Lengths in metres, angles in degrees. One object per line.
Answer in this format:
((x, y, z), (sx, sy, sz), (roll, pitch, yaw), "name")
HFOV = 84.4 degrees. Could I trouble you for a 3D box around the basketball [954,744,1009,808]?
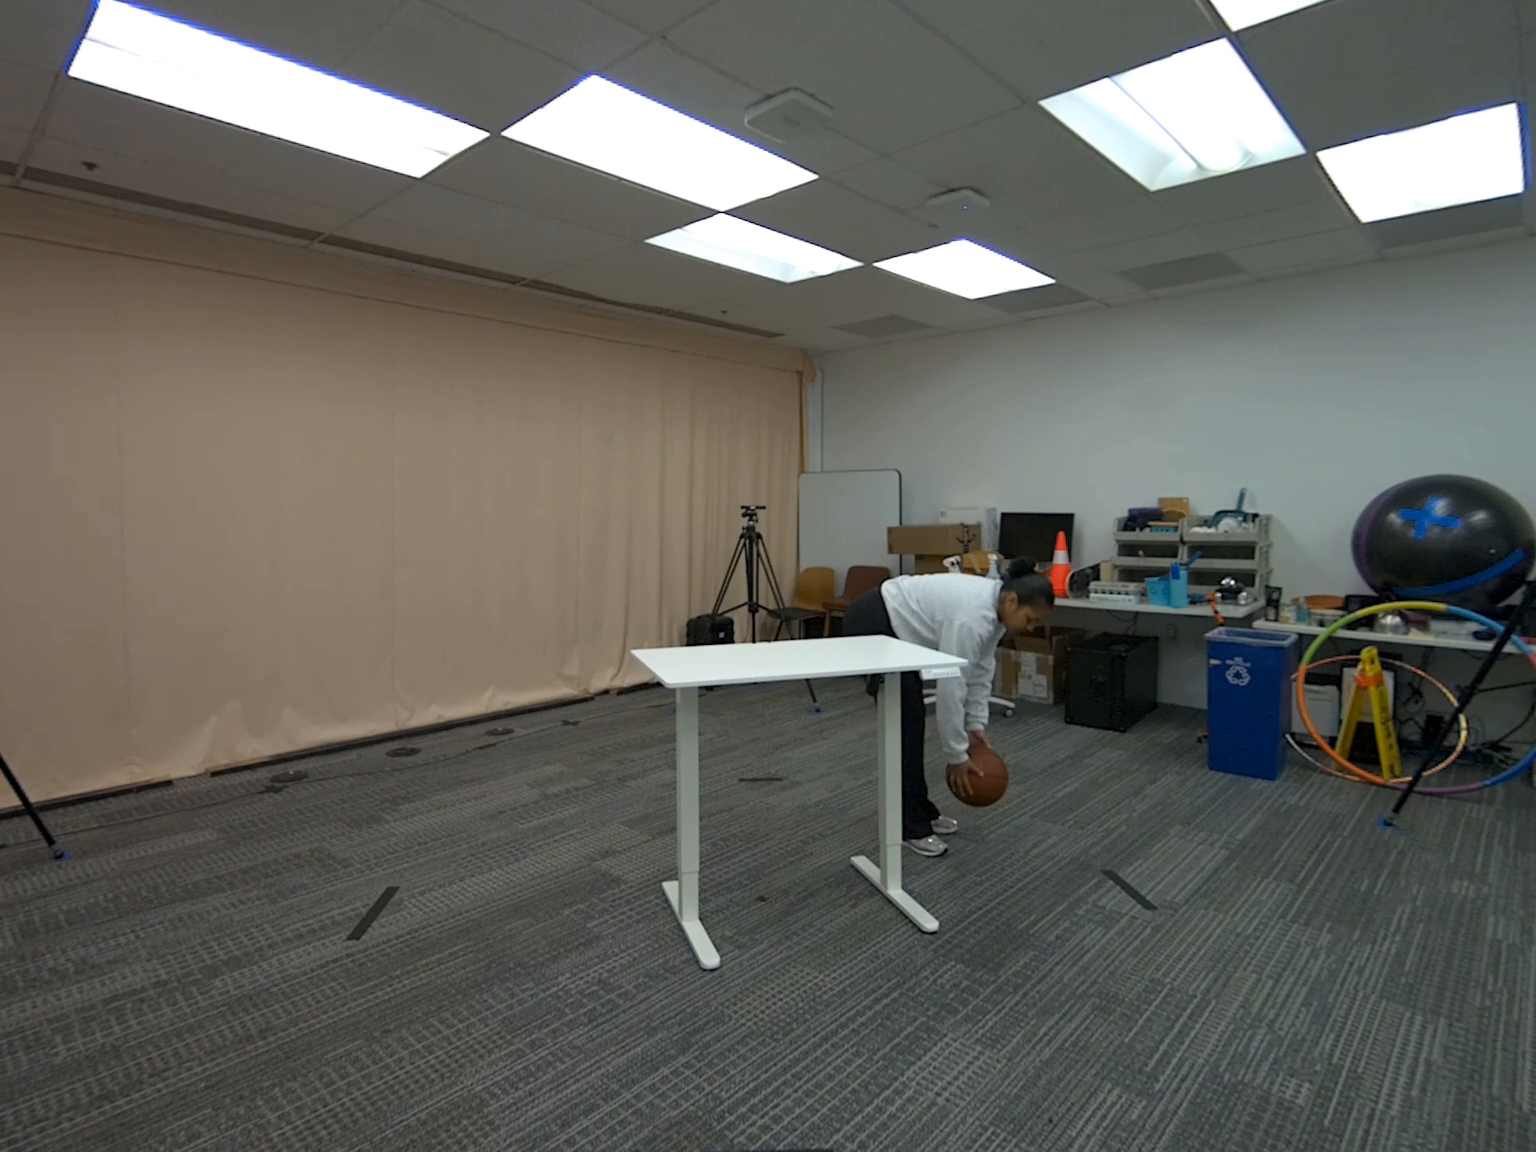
((0.829, 0.780, 3.345), (0.236, 0.235, 0.237), (0, 4, -2), "basketball")
